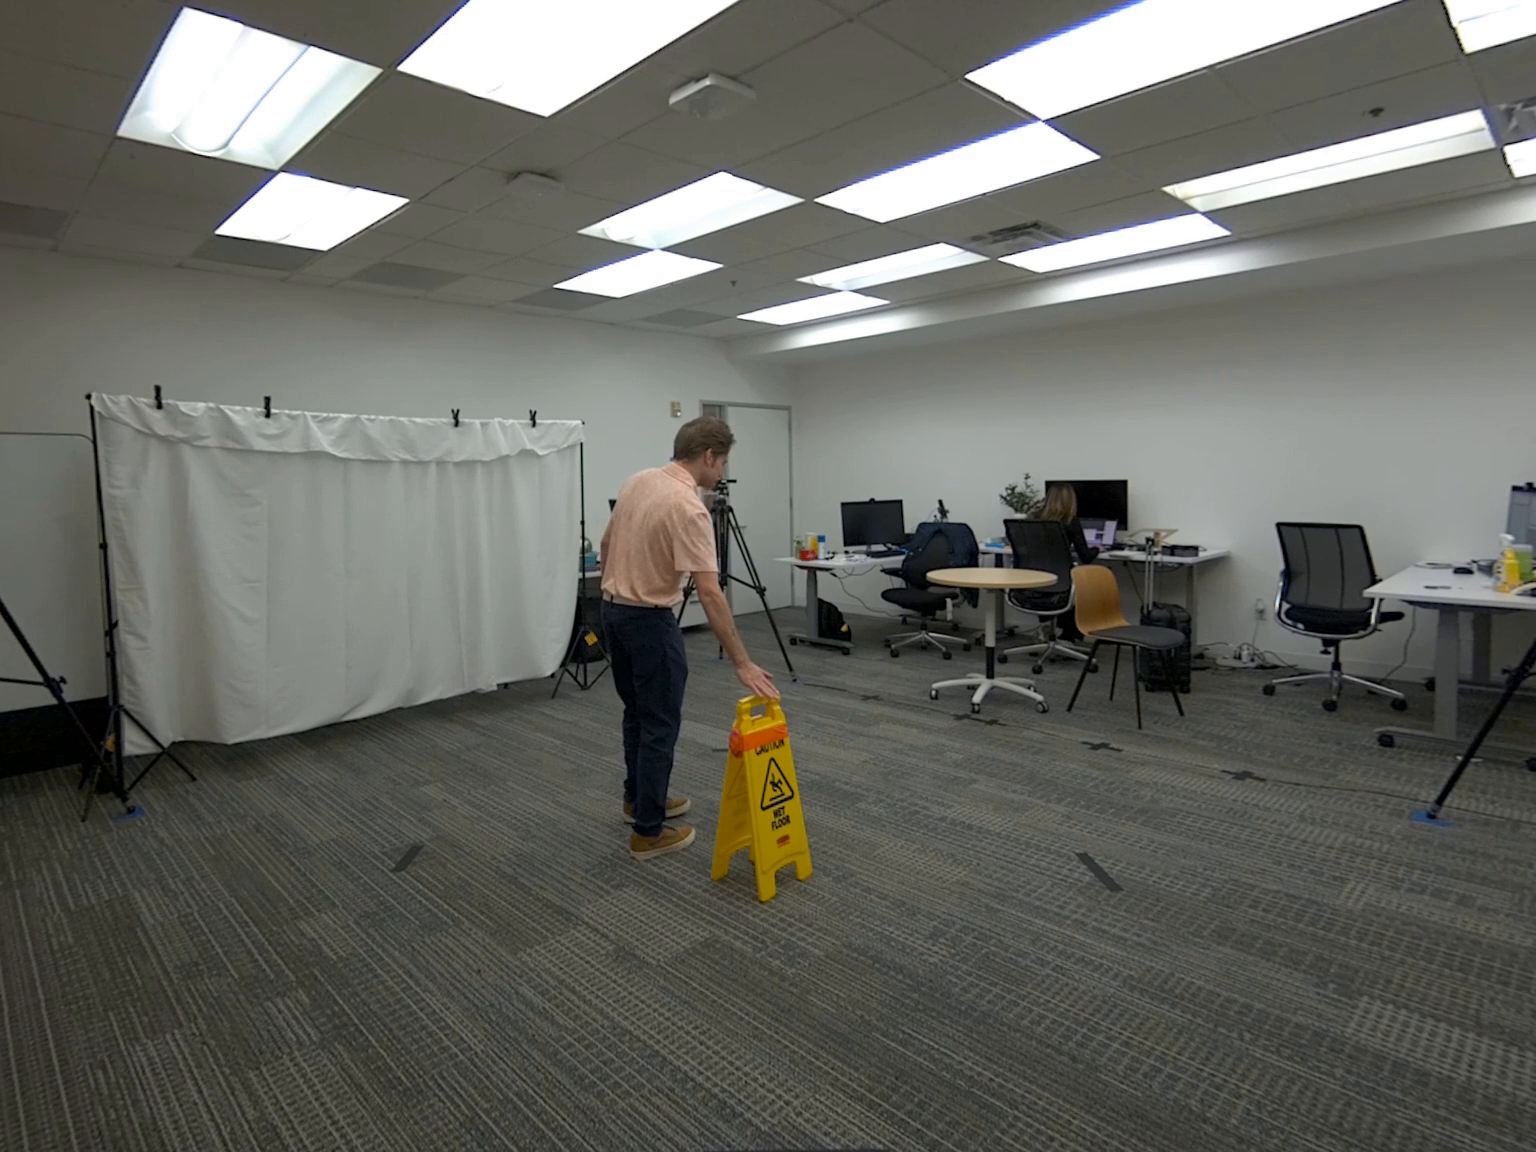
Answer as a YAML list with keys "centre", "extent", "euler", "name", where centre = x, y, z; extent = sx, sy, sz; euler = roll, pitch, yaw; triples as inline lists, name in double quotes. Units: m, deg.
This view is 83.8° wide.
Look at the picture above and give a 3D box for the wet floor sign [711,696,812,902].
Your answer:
- centre: [-0.030, 0.734, 2.982]
  extent: [0.298, 0.644, 0.275]
  euler: [2, 4, 42]
  name: "wet floor sign"
